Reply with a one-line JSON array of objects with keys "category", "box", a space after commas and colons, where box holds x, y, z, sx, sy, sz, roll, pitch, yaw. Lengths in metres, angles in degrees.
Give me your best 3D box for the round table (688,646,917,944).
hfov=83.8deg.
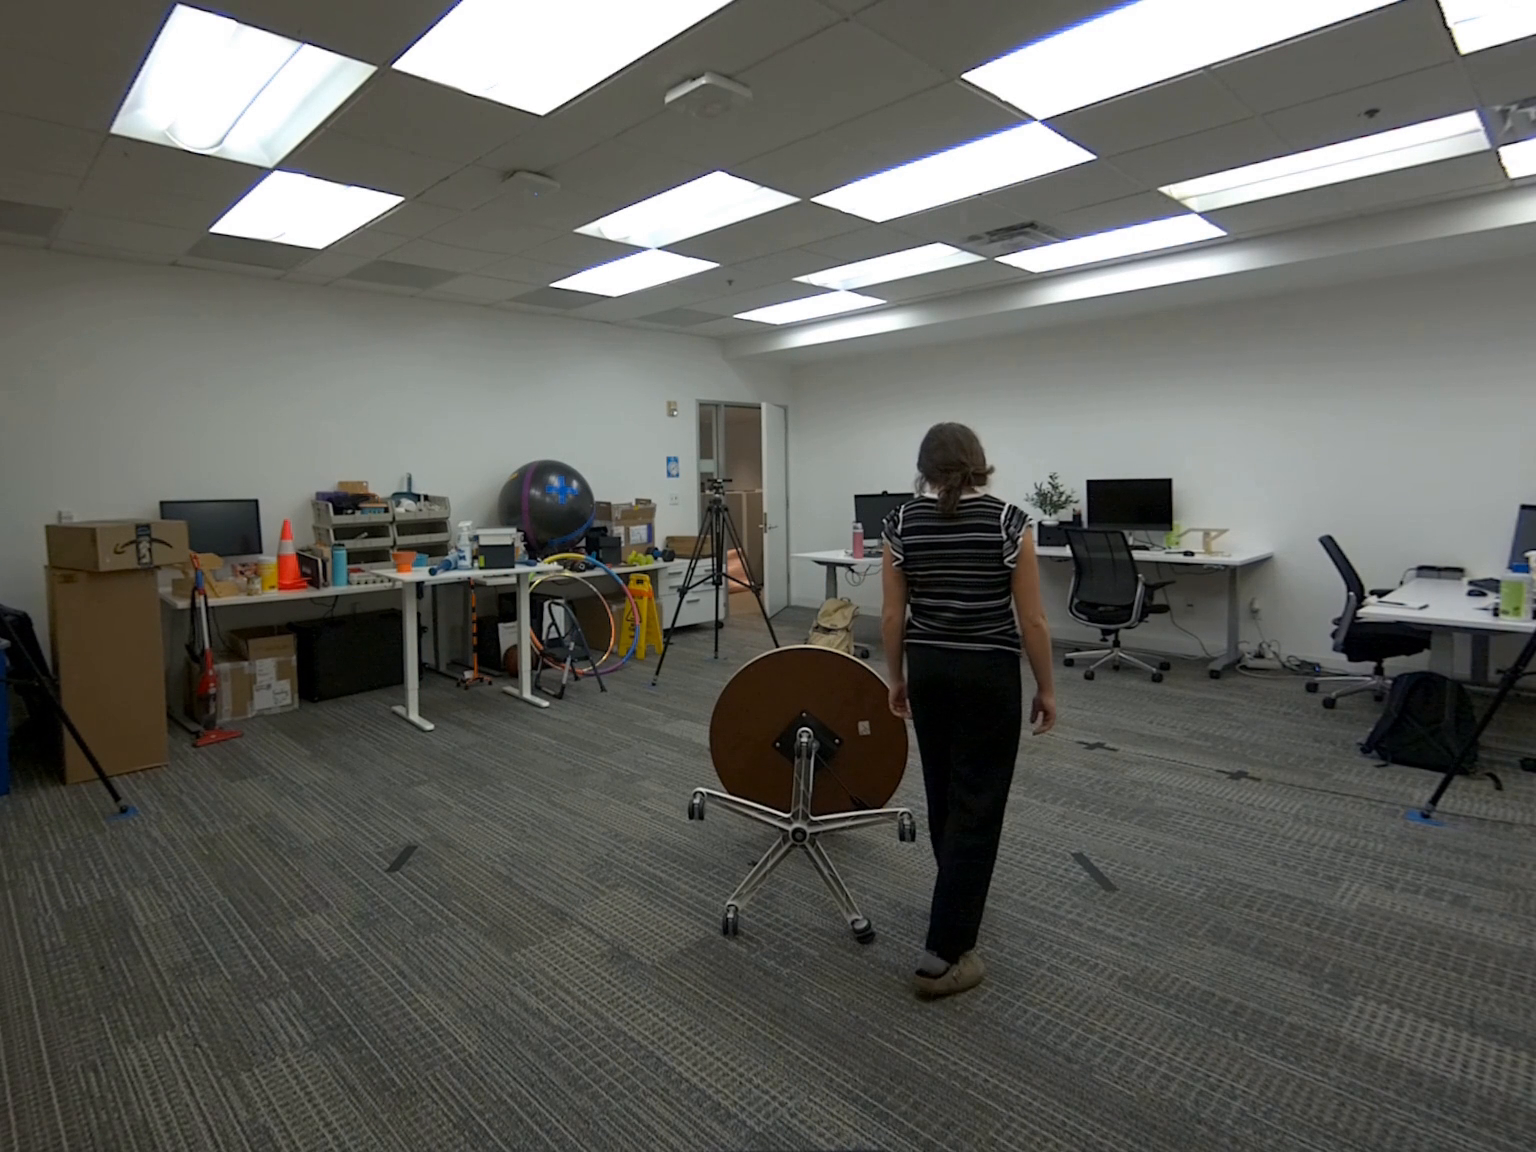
[{"category": "round table", "box": [0.130, 0.725, 2.916, 0.790, 0.777, 0.790, 0, 11, 6]}]
